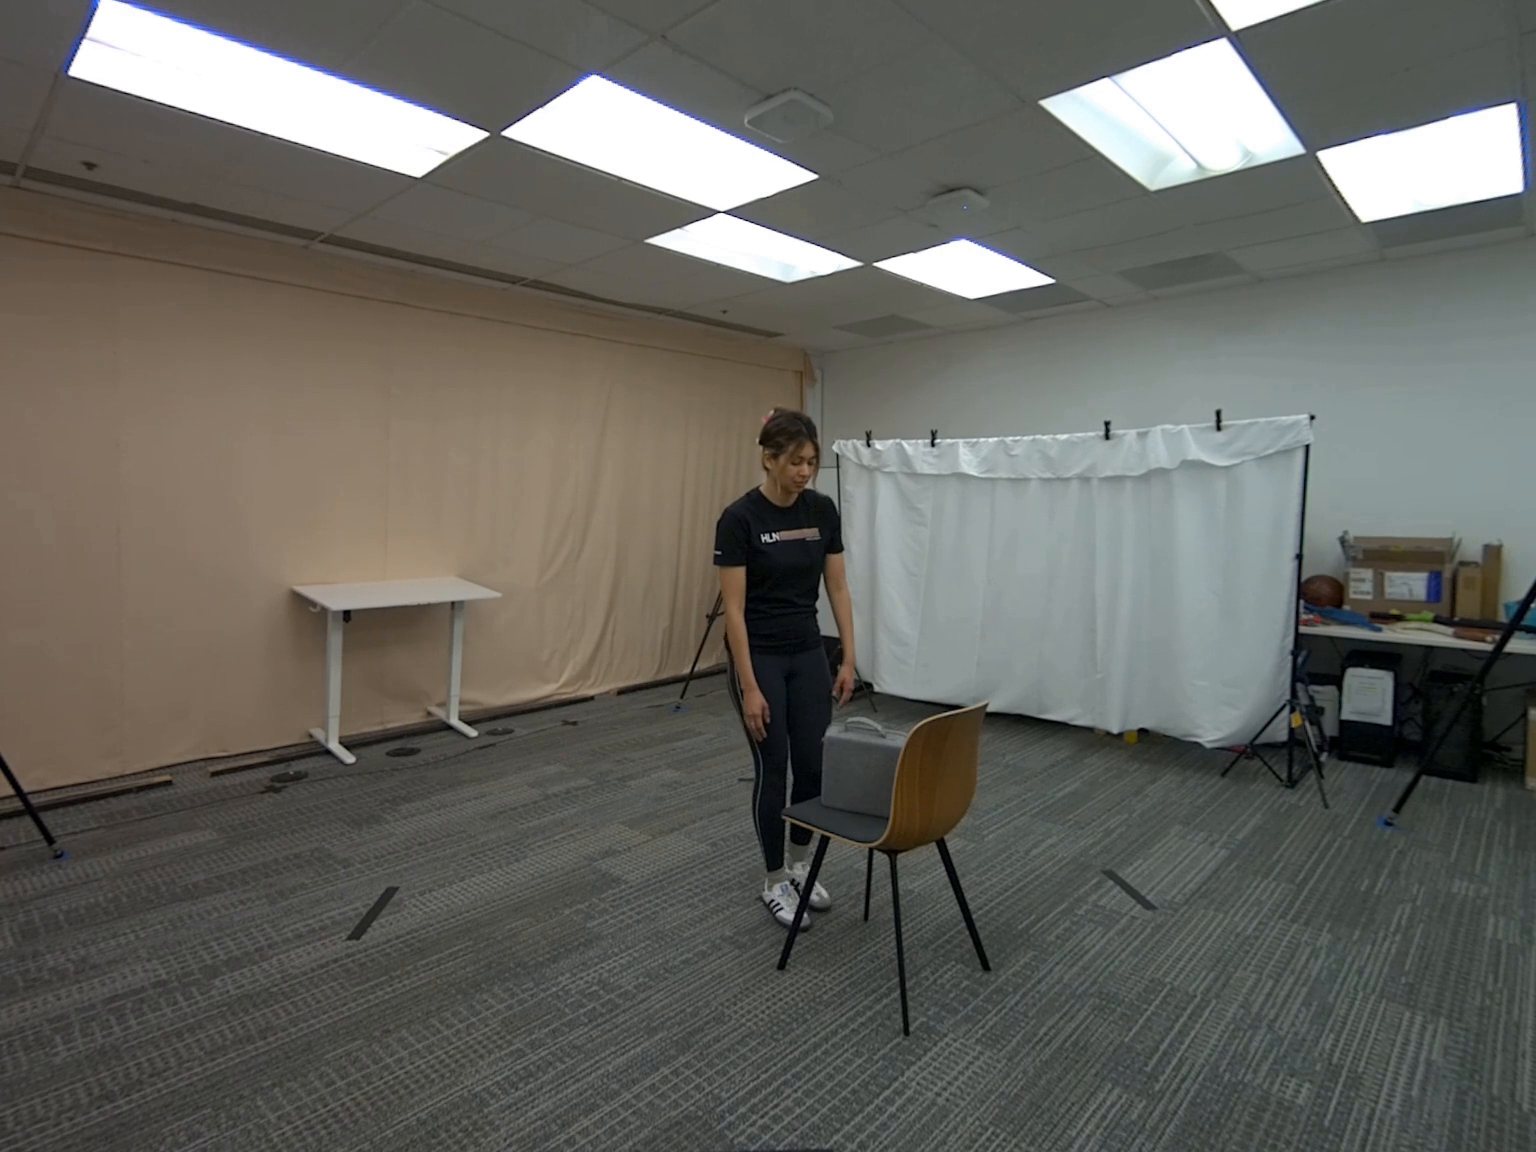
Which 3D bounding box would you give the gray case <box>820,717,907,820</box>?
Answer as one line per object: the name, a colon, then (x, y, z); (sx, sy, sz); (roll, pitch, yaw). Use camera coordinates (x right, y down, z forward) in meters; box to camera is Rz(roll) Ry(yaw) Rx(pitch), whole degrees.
gray case: (0.308, 0.577, 2.510); (0.263, 0.258, 0.103); (5, 14, 21)
